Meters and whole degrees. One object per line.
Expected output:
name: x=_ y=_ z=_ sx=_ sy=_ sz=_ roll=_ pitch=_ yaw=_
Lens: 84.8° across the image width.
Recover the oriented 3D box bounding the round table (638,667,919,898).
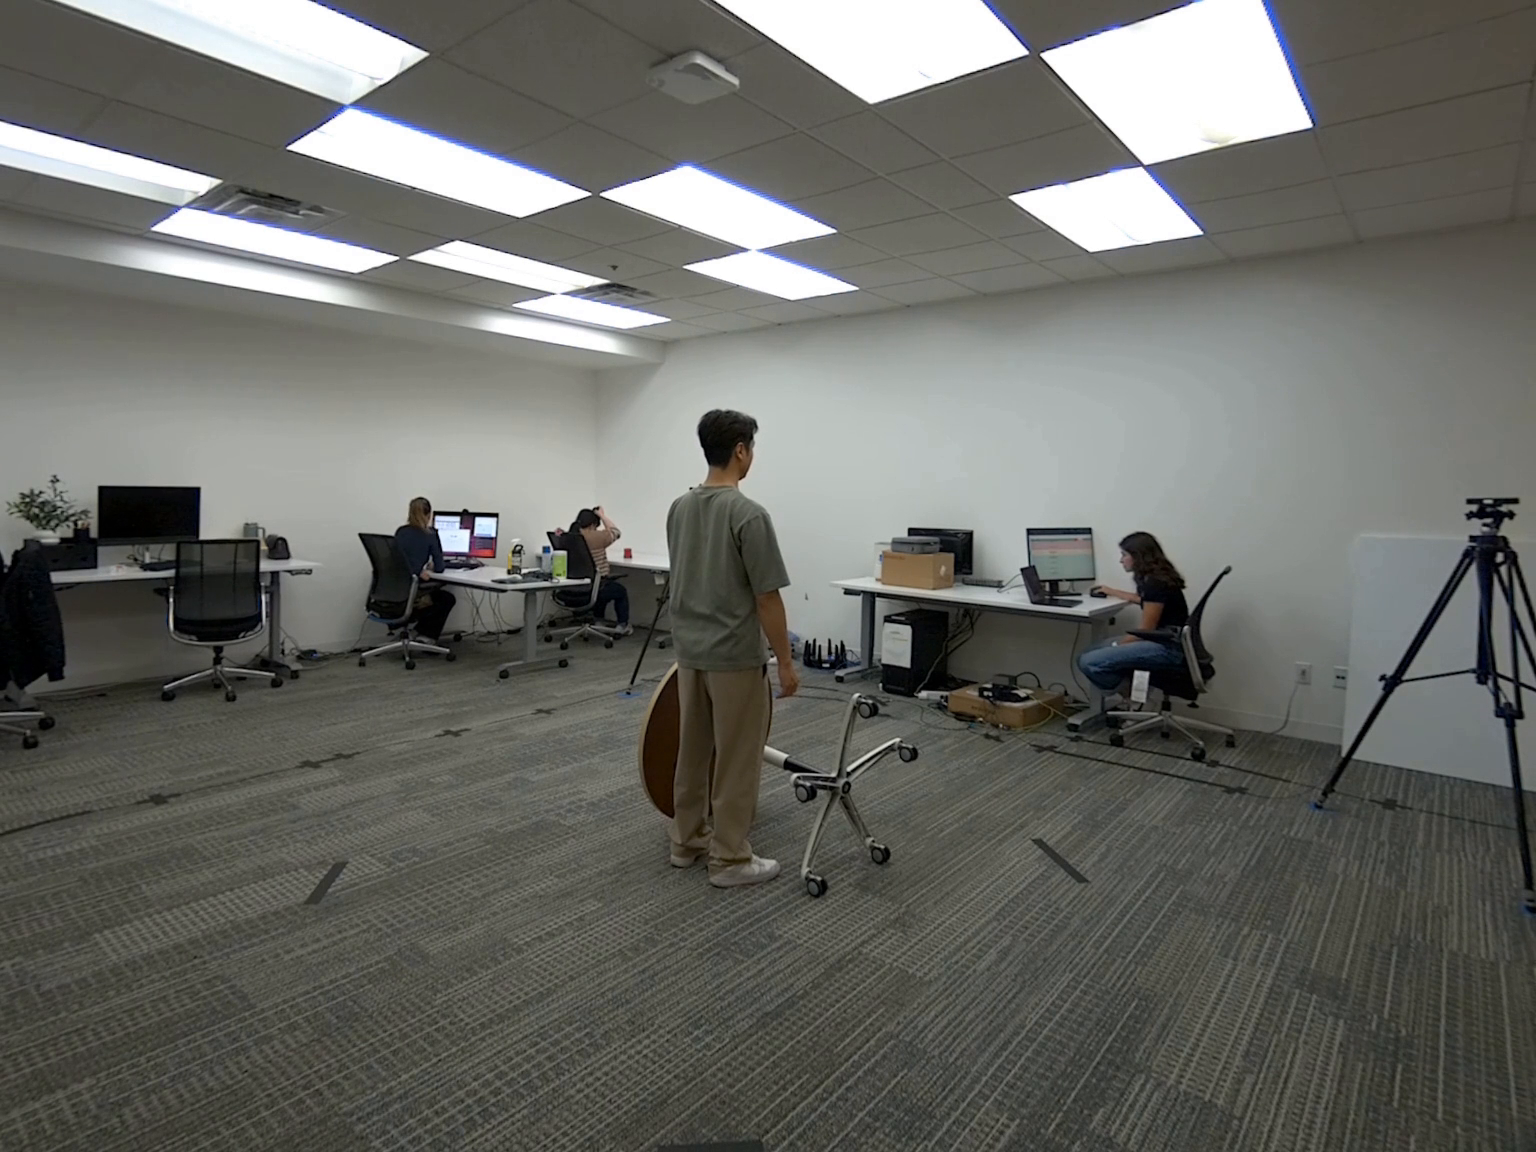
round table: x=0.046 y=0.712 z=3.291 sx=0.816 sy=0.780 sz=0.761 roll=13 pitch=11 yaw=41
